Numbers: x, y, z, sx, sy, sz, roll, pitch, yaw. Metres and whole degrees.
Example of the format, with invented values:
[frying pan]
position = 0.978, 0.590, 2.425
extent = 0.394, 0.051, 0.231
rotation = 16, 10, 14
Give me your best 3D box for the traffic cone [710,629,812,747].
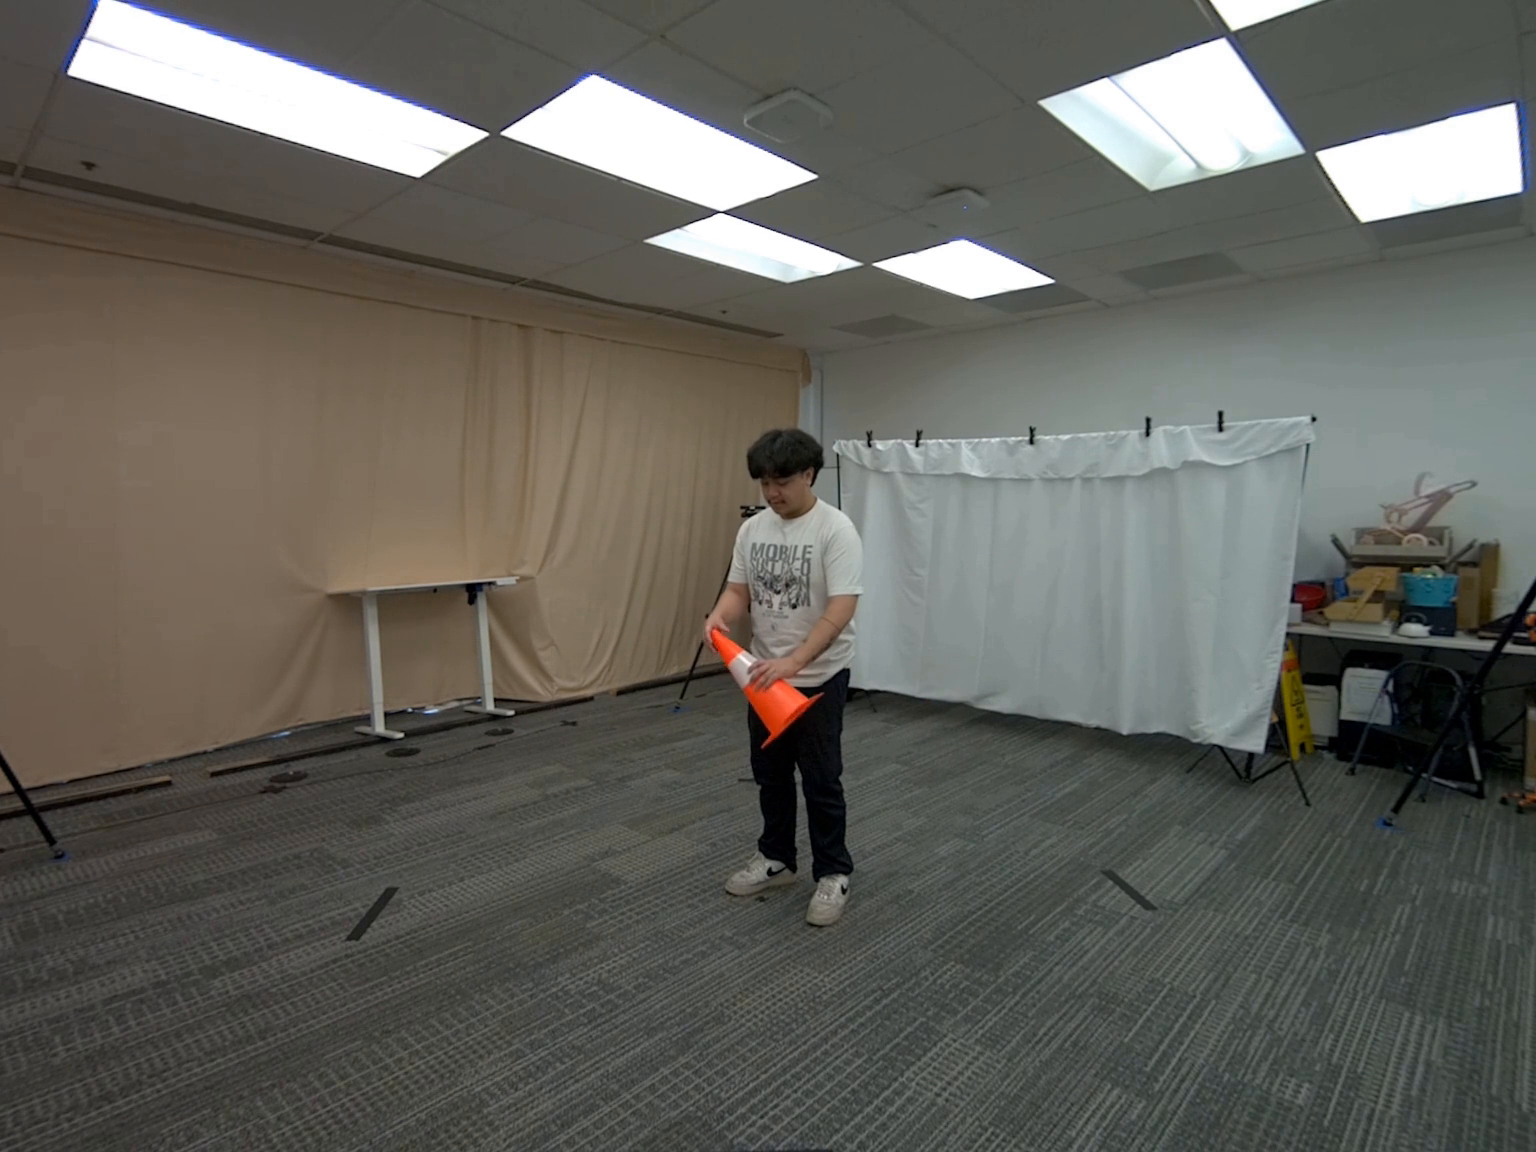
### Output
[traffic cone]
position = -0.049, 0.323, 2.665
extent = 0.391, 0.205, 0.199
rotation = 45, 26, 16
